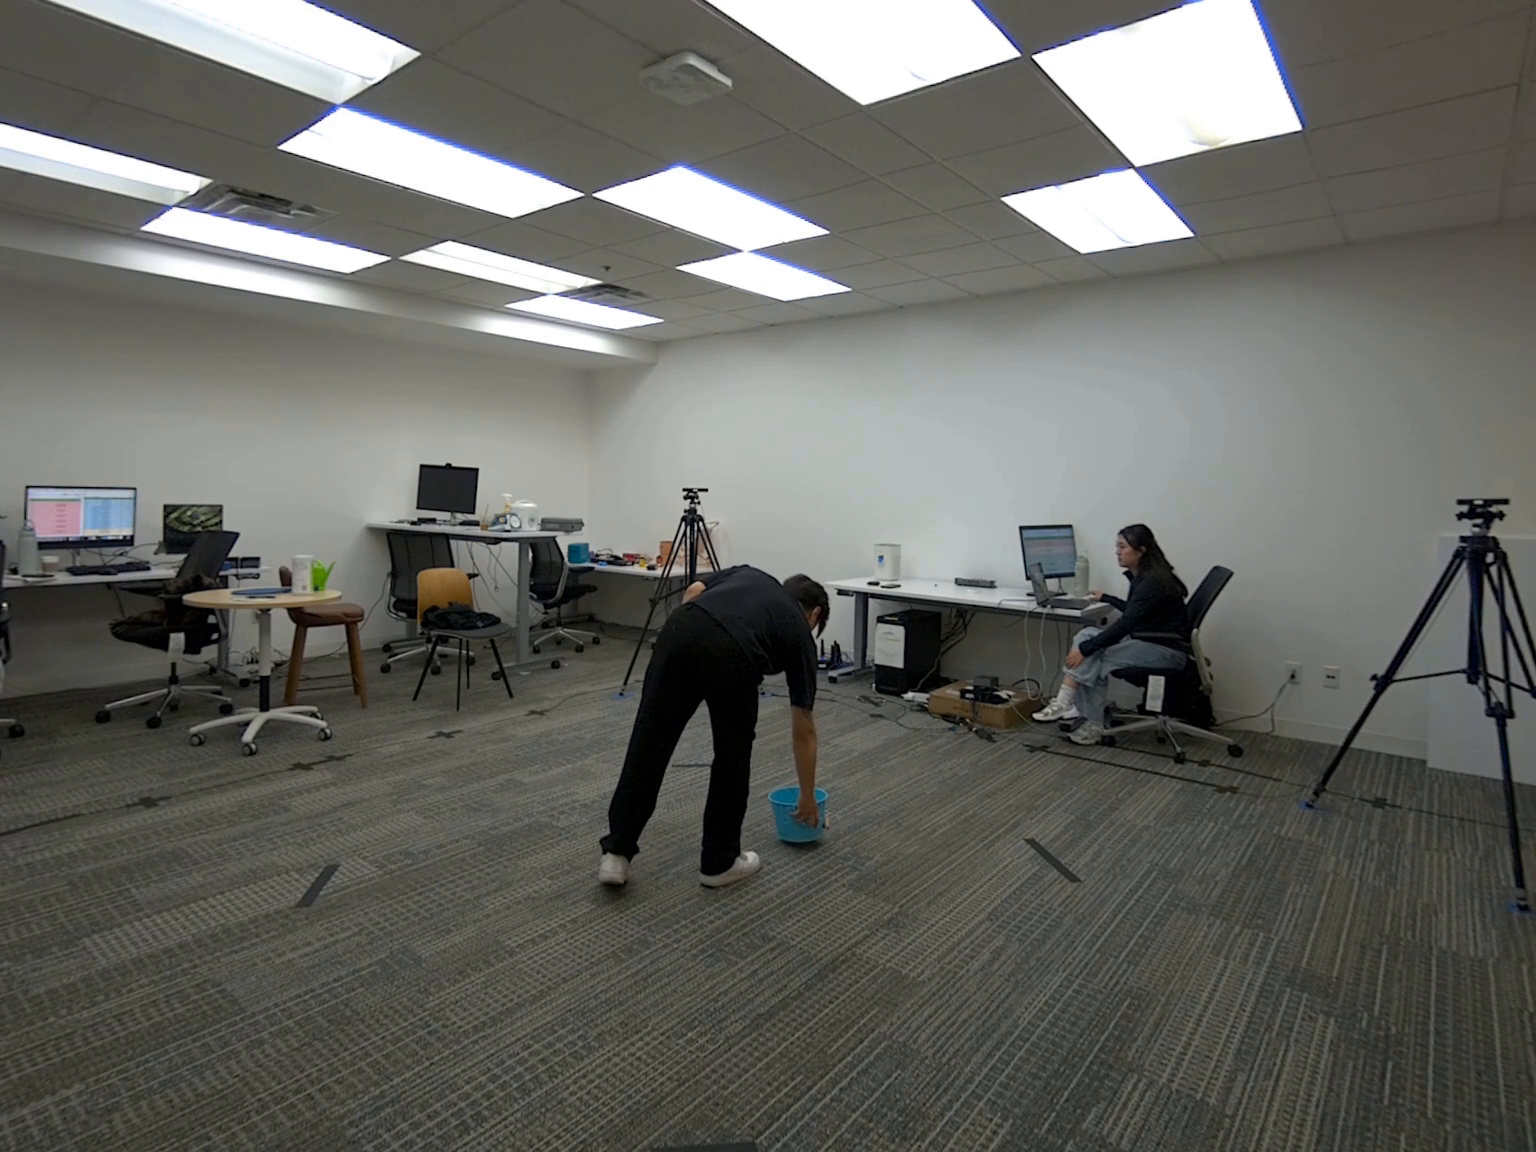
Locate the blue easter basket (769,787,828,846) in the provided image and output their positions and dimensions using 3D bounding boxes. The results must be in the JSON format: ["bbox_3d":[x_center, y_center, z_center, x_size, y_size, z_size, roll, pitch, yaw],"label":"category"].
[{"bbox_3d":[0.122,0.939,3.369,0.243,0.156,0.244,-4,2,-2],"label":"blue easter basket"}]
